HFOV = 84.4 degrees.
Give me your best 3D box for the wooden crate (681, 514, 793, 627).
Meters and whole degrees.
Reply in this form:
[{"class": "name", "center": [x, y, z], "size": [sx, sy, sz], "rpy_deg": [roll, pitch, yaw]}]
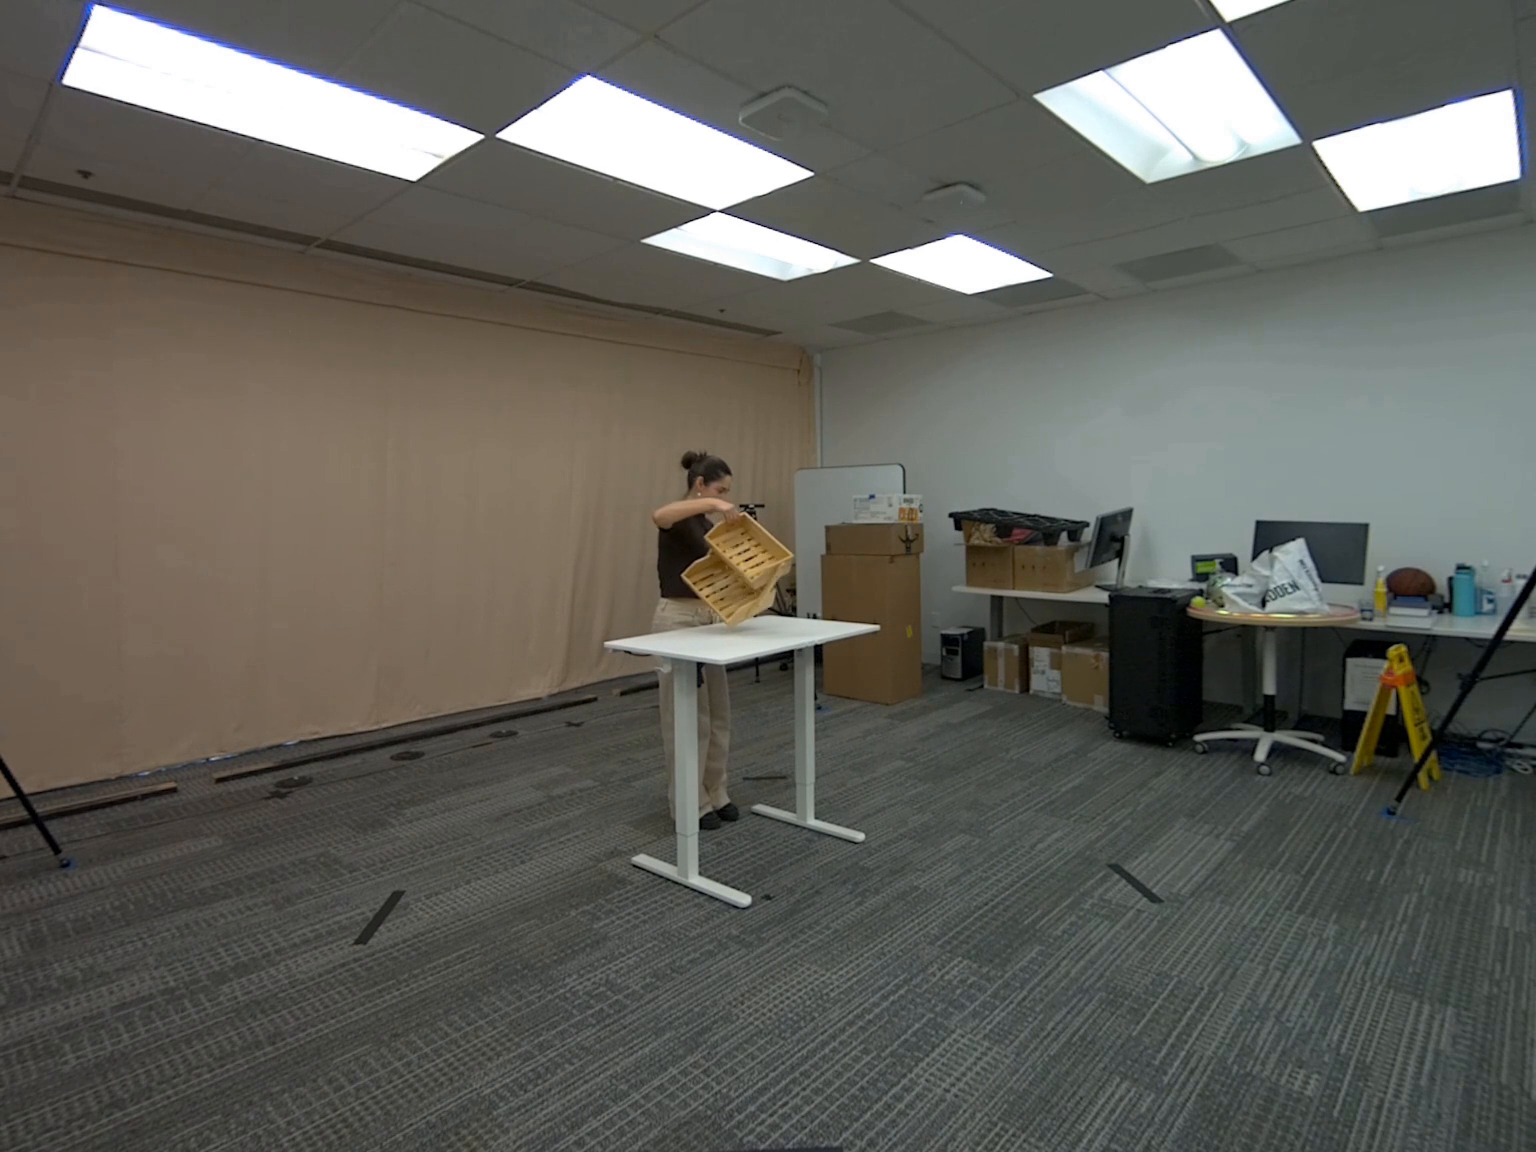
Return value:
[{"class": "wooden crate", "center": [-0.127, -0.028, 3.369], "size": [0.296, 0.270, 0.335], "rpy_deg": [-24, 53, -33]}]
